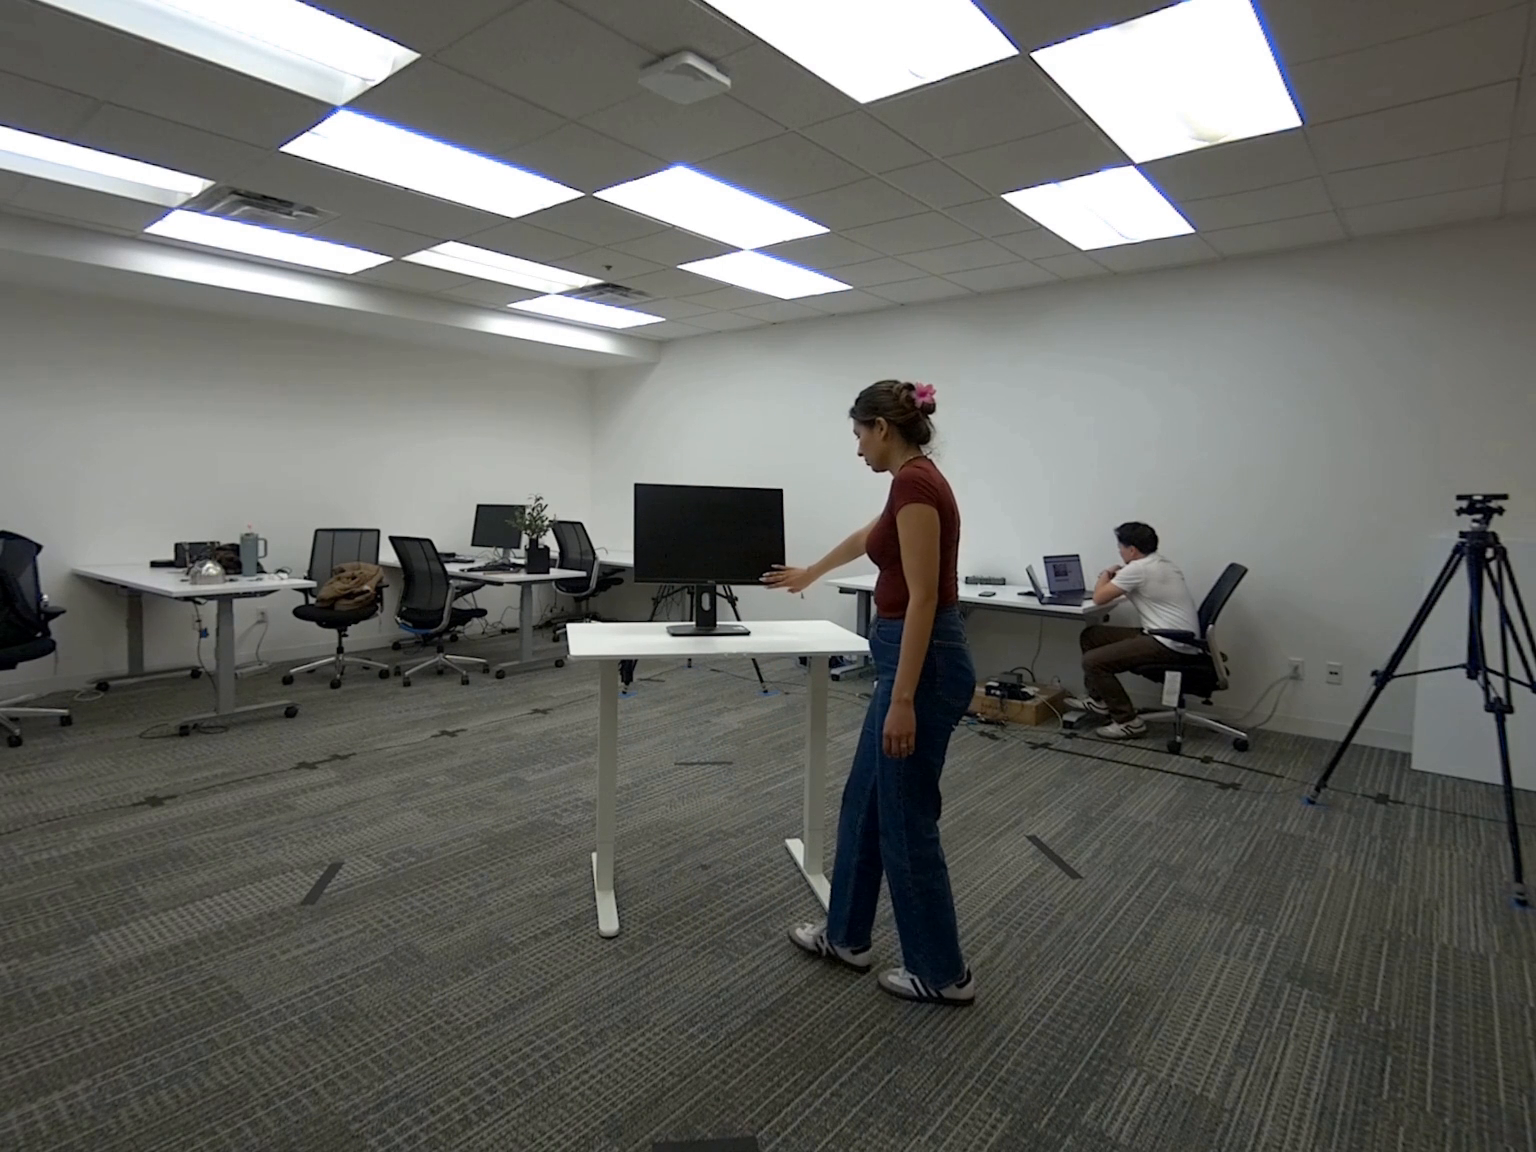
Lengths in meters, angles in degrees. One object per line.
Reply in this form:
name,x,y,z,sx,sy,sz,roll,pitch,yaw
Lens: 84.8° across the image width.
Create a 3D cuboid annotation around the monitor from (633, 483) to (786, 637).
monitor,-0.223,-0.059,2.995,0.531,0.522,0.190,0,1,-14
